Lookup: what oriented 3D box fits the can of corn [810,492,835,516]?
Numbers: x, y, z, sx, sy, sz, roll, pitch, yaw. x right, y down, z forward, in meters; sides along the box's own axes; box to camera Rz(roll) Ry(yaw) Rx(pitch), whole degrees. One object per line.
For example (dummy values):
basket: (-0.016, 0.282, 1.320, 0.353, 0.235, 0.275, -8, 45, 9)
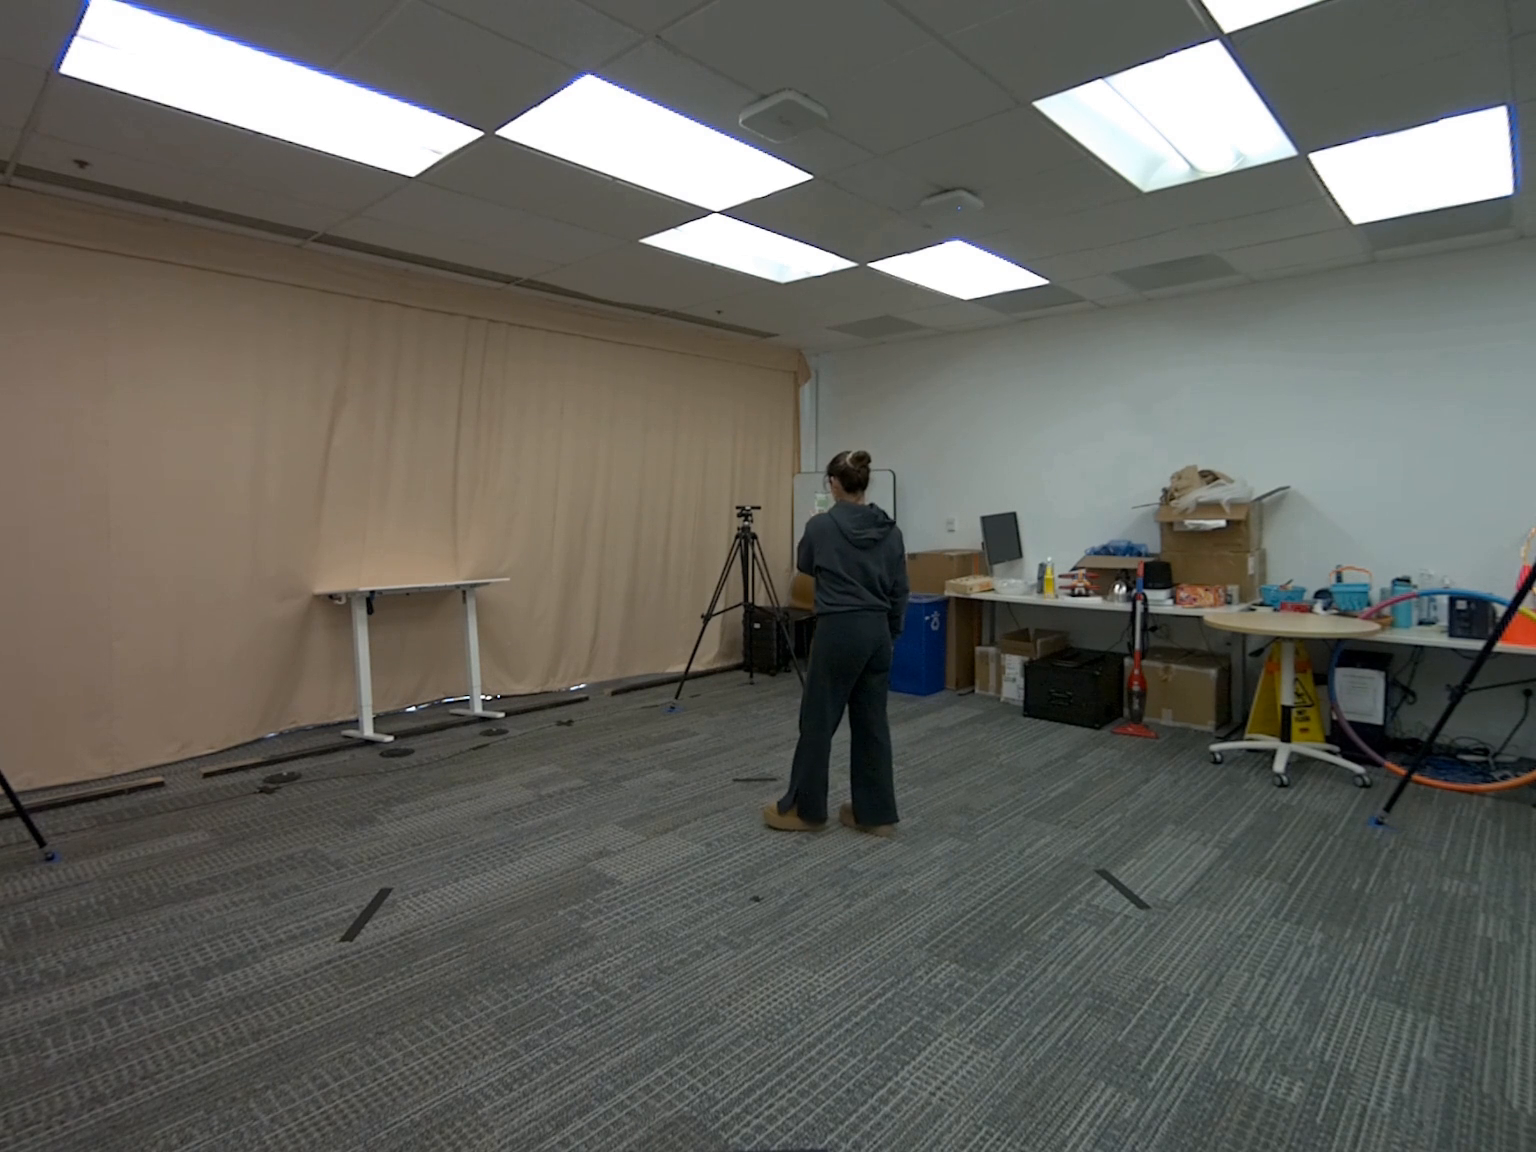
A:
can of corn: (0.264, -0.337, 3.865, 0.074, 0.110, 0.075, -2, 11, -1)
